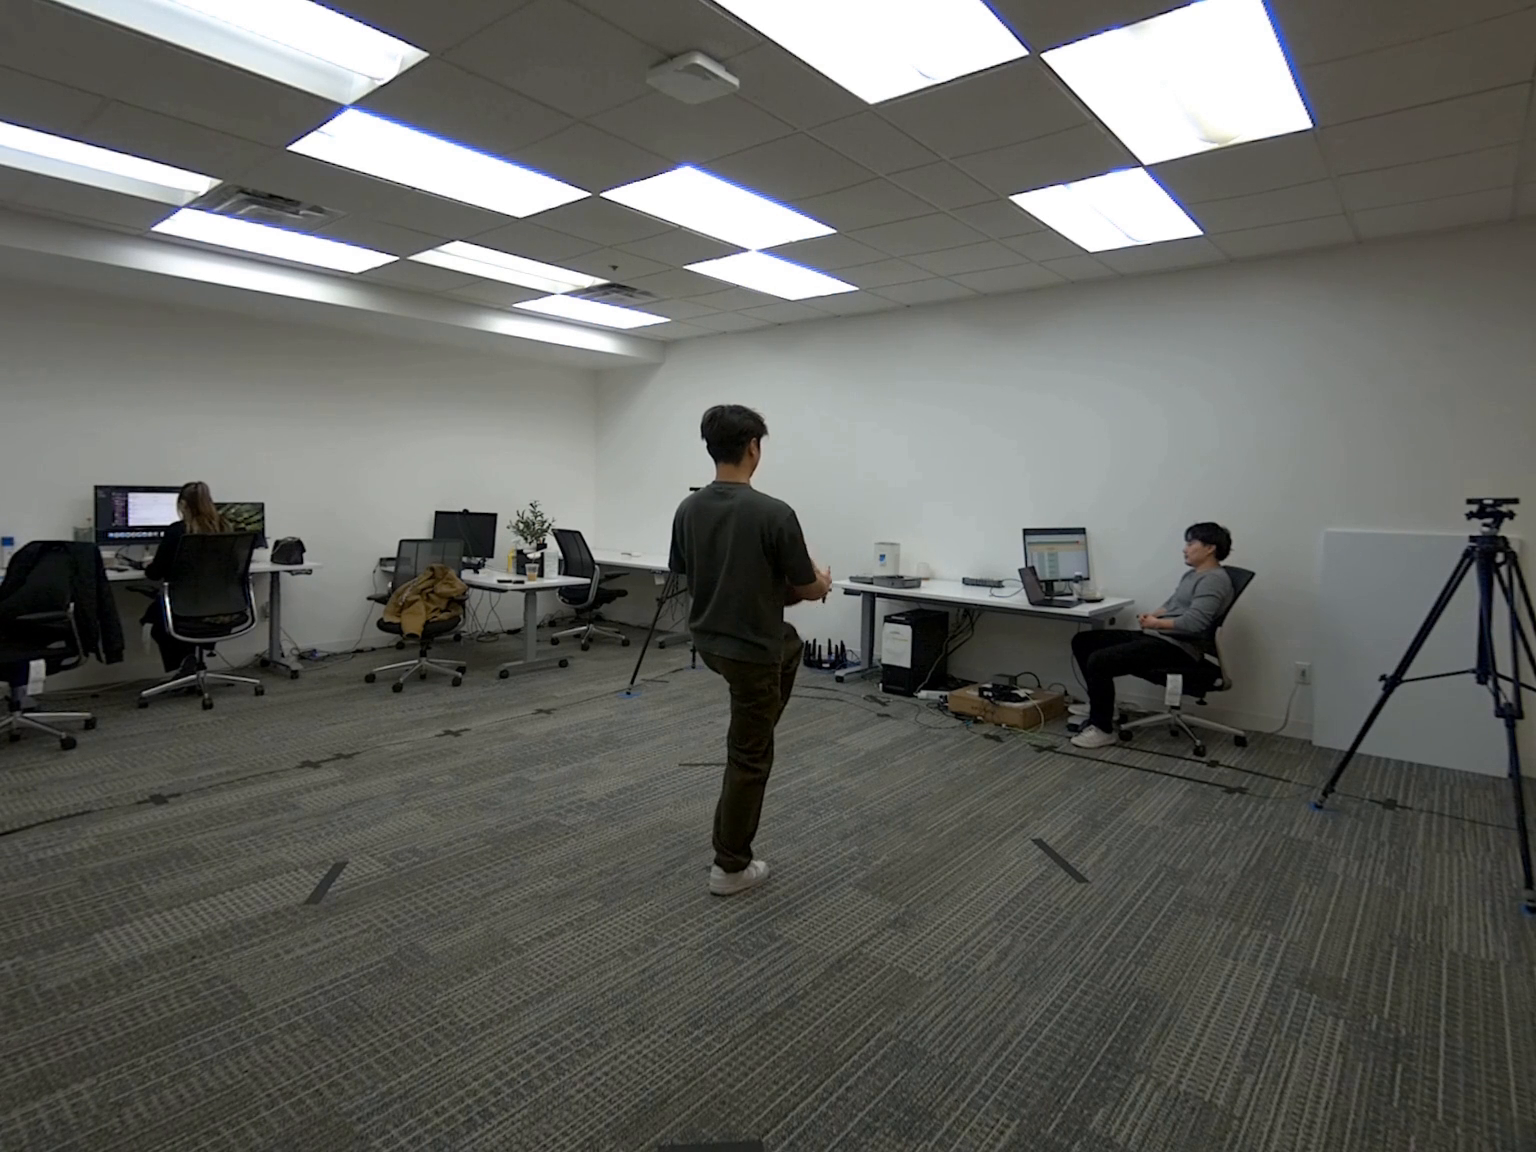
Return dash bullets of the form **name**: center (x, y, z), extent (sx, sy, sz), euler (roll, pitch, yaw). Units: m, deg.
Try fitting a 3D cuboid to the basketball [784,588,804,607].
- **basketball**: center (0.065, -0.045, 3.267), extent (0.235, 0.235, 0.237), euler (1, 4, -2)
